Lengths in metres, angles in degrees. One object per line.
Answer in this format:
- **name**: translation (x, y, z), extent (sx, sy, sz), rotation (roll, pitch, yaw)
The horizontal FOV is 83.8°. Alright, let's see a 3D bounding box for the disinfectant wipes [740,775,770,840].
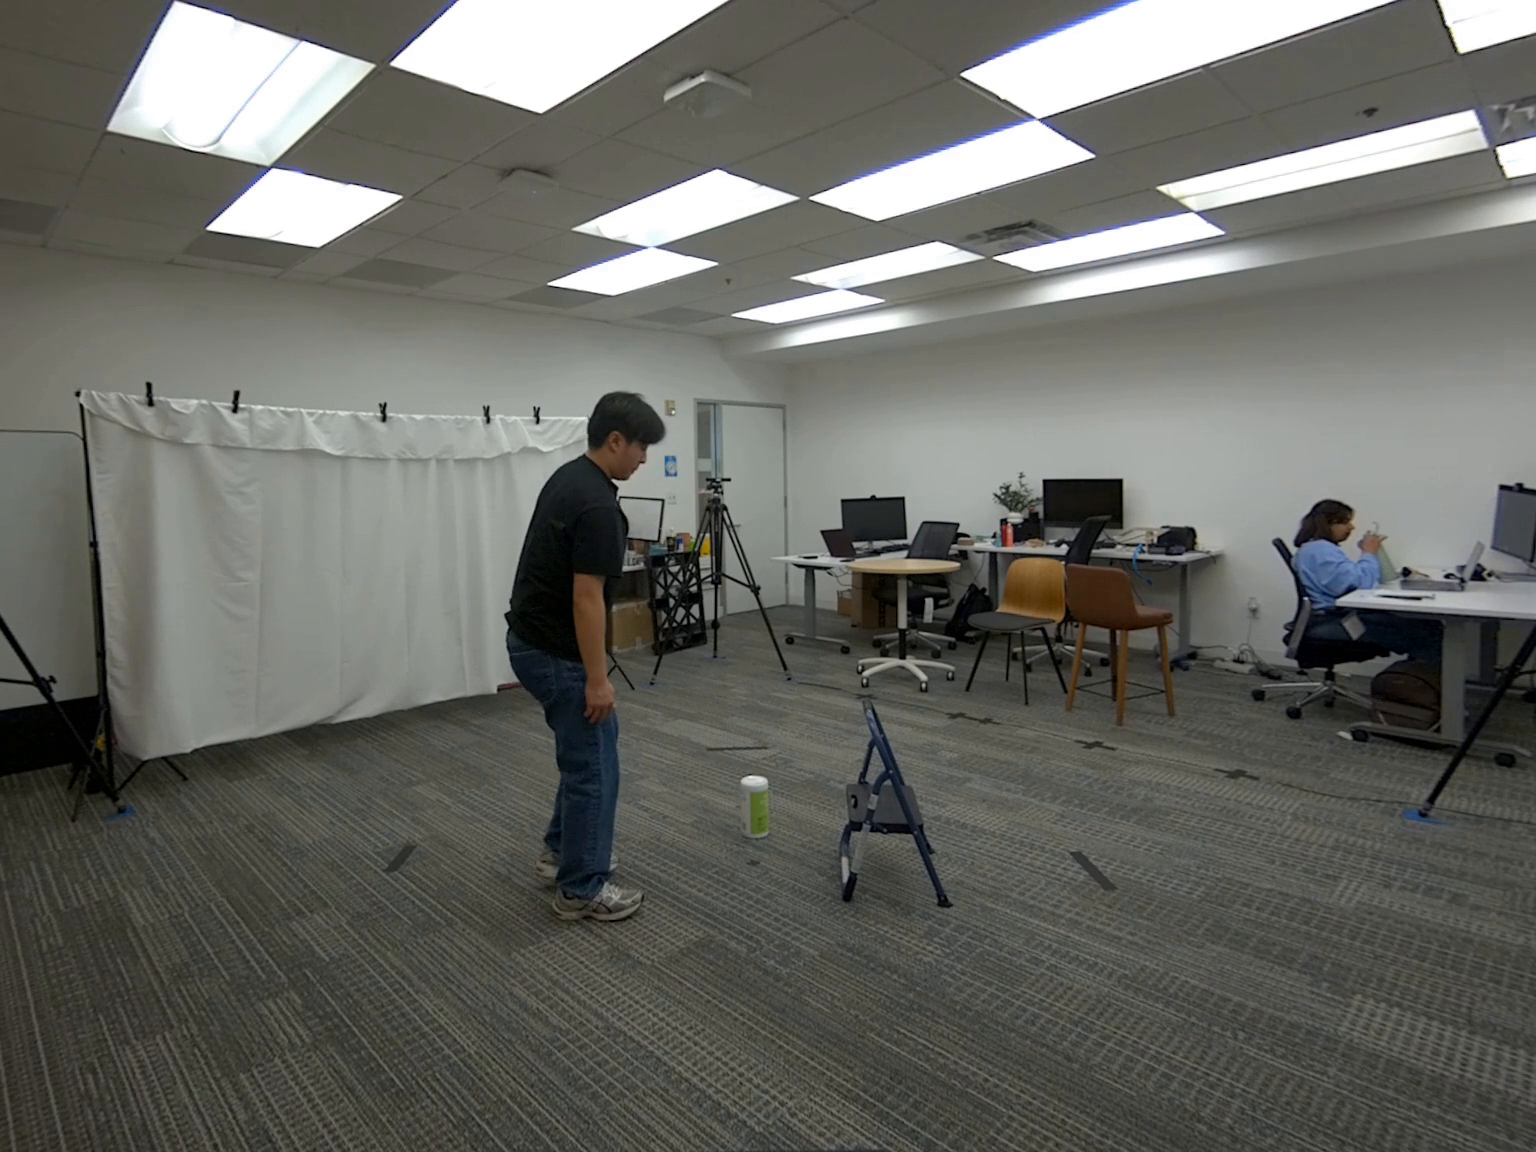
- **disinfectant wipes**: translation (-0.048, 0.907, 3.353), extent (0.118, 0.216, 0.118), rotation (0, 5, -2)
